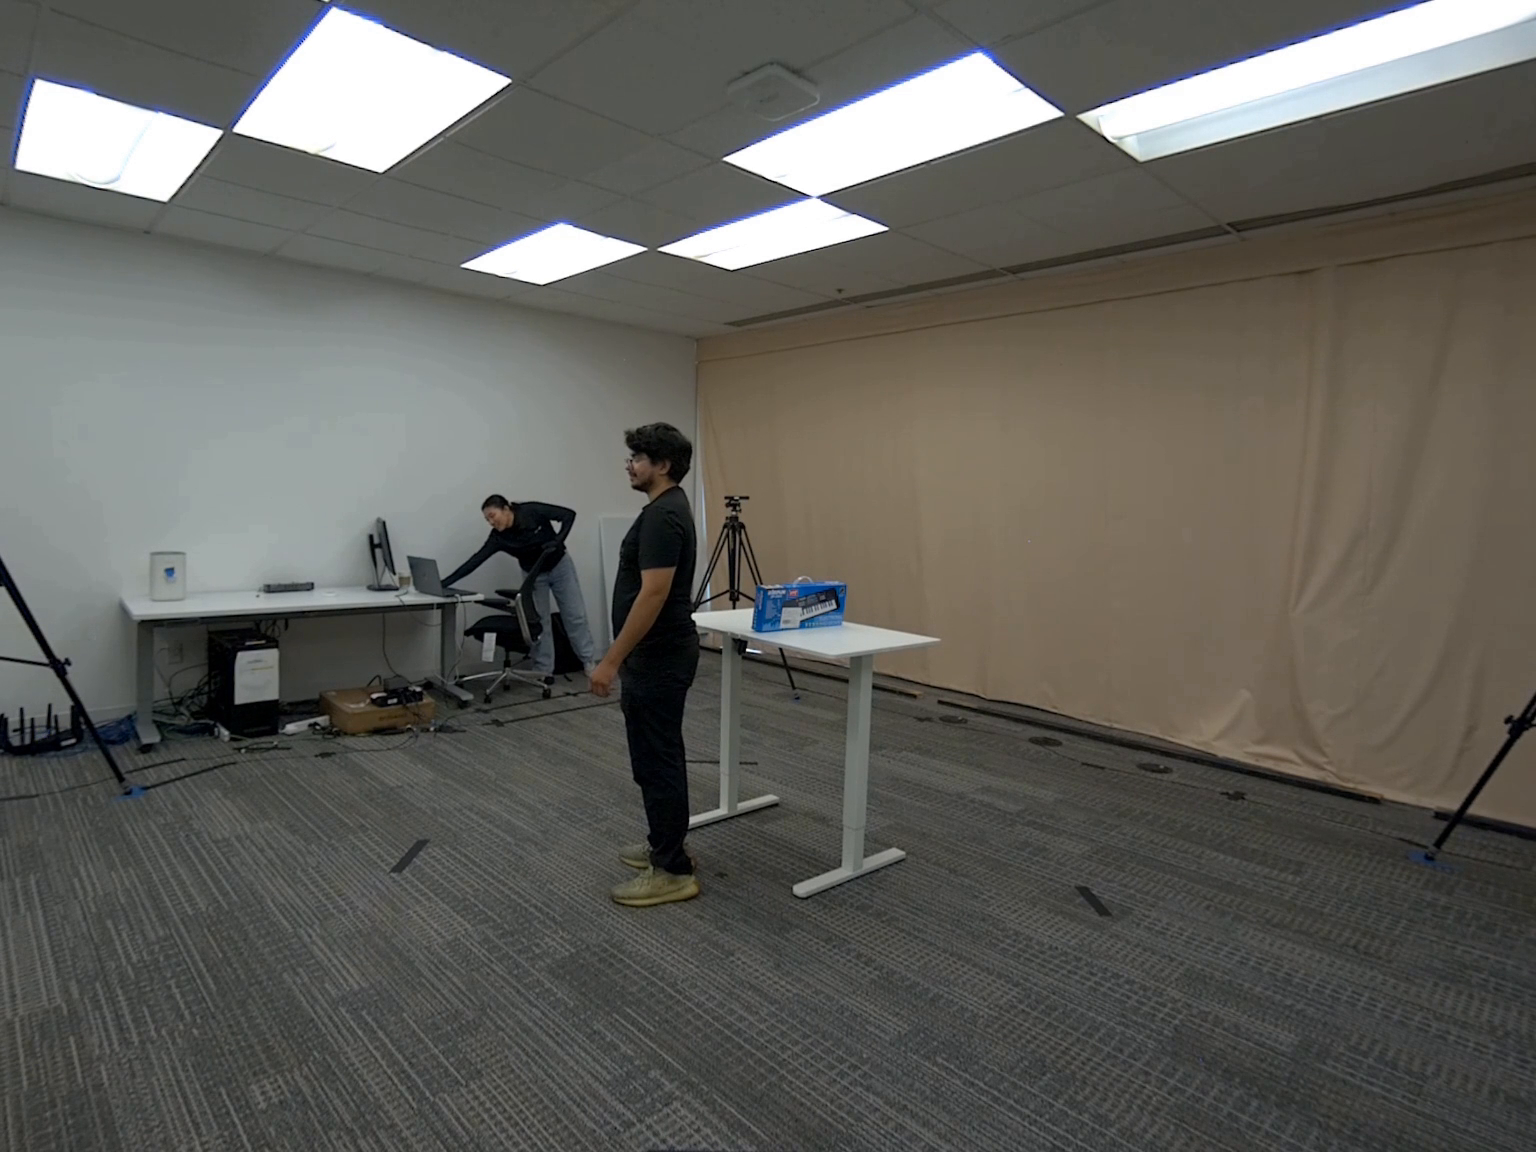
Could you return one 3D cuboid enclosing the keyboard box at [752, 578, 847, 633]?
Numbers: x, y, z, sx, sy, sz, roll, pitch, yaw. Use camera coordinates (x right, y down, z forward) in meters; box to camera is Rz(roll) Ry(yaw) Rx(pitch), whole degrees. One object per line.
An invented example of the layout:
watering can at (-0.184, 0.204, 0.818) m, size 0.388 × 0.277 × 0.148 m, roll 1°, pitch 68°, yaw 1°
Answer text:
keyboard box at (0.127, 0.122, 3.326) m, size 0.427 × 0.175 × 0.061 m, roll -2°, pitch 12°, yaw -40°
